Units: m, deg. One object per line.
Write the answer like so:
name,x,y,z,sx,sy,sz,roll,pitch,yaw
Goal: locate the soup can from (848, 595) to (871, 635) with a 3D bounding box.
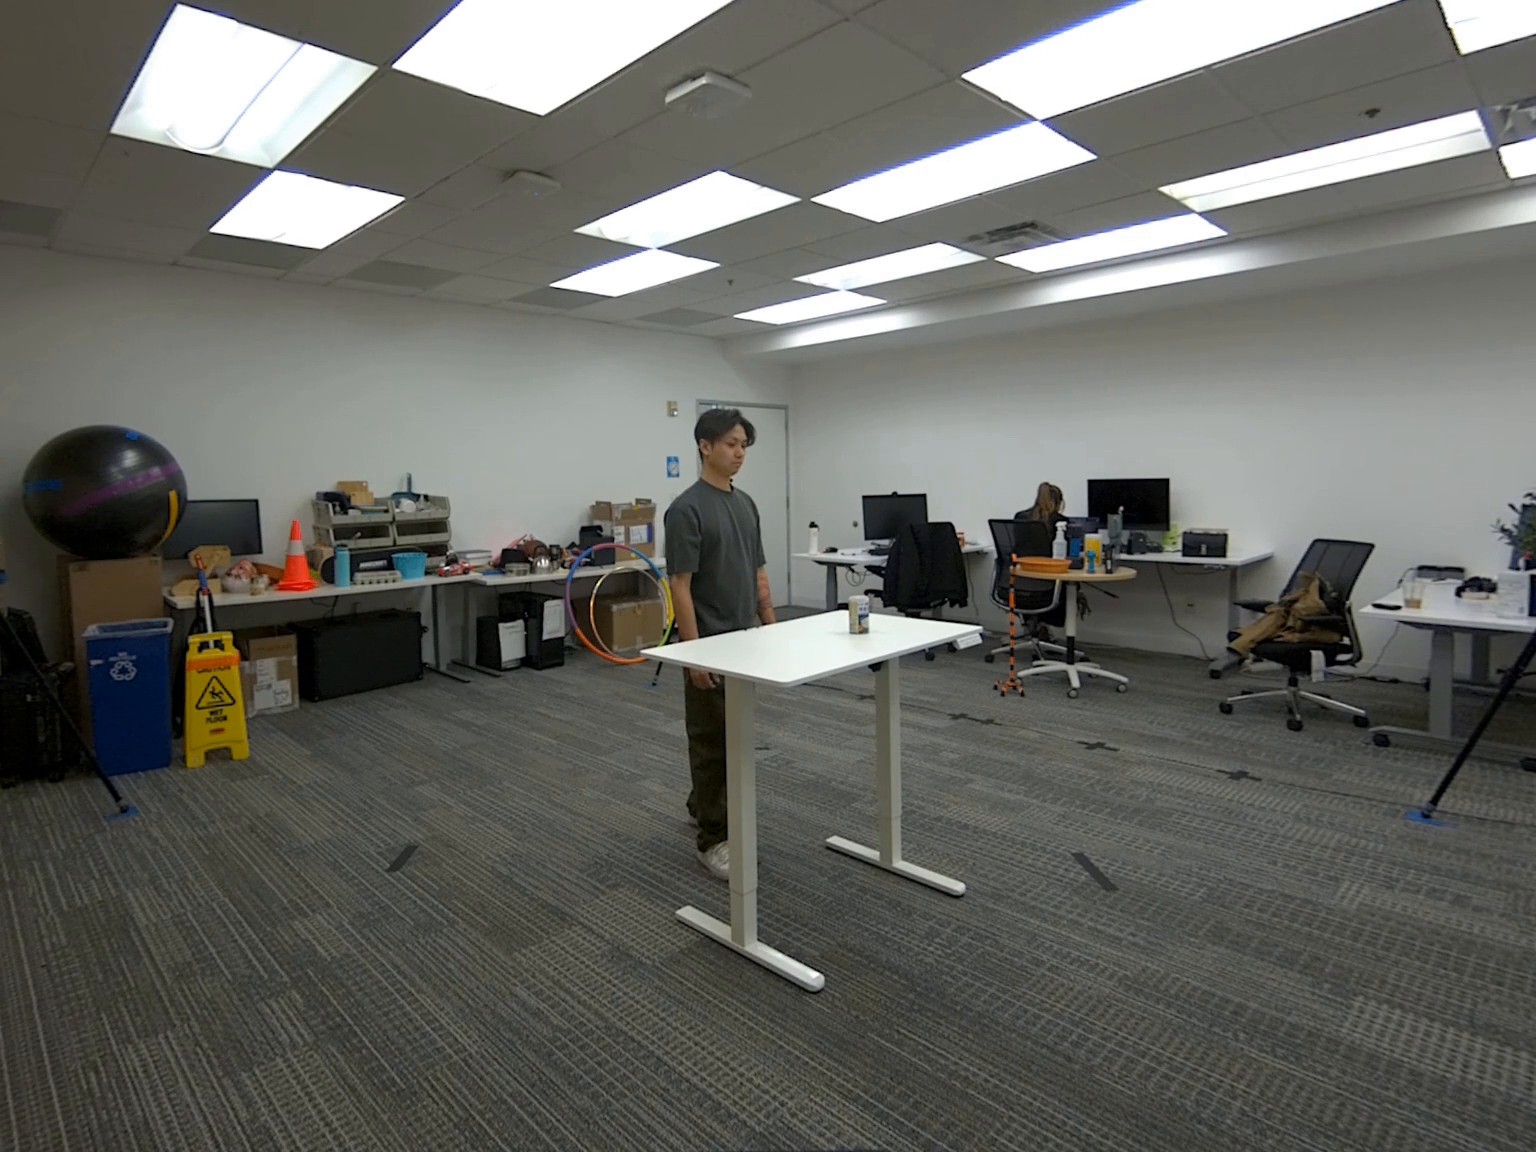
soup can,0.297,0.130,2.816,0.067,0.121,0.067,-3,2,-2
